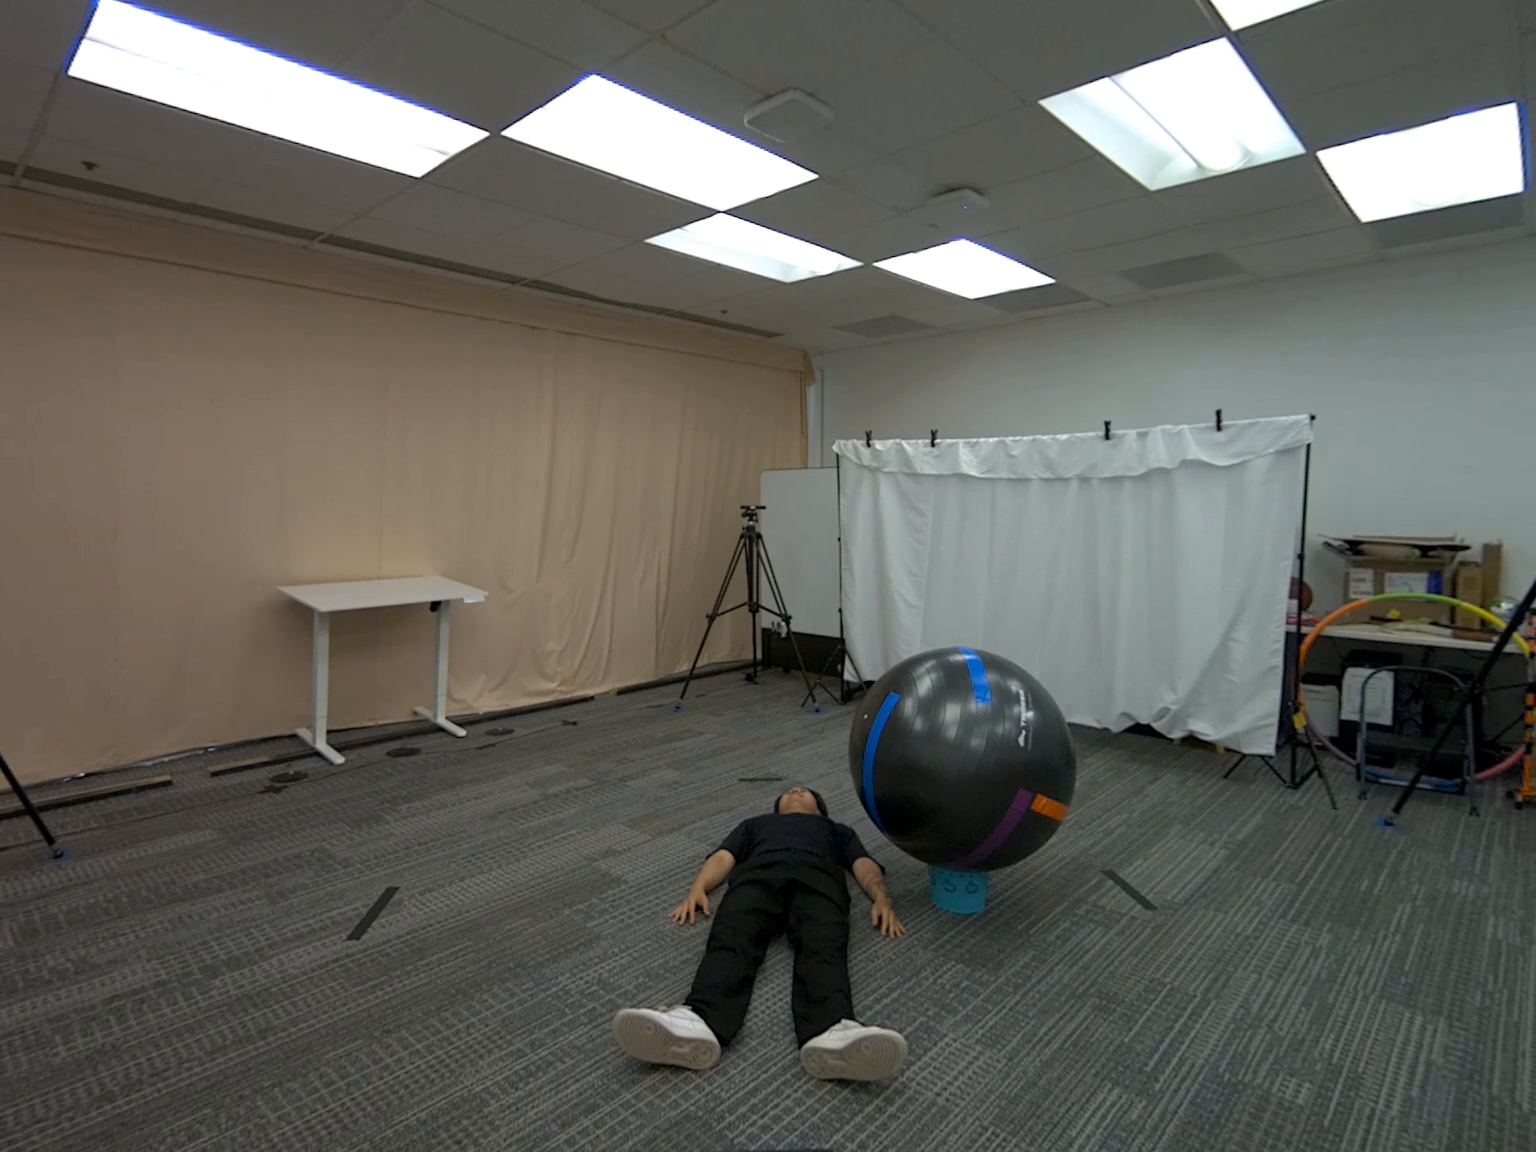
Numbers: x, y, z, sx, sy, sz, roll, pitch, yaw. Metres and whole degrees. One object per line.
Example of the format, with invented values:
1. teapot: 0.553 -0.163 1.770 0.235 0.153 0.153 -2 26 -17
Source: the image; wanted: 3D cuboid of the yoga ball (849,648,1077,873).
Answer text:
1. yoga ball: 0.672 0.634 2.941 0.757 0.756 0.760 0 4 -2
